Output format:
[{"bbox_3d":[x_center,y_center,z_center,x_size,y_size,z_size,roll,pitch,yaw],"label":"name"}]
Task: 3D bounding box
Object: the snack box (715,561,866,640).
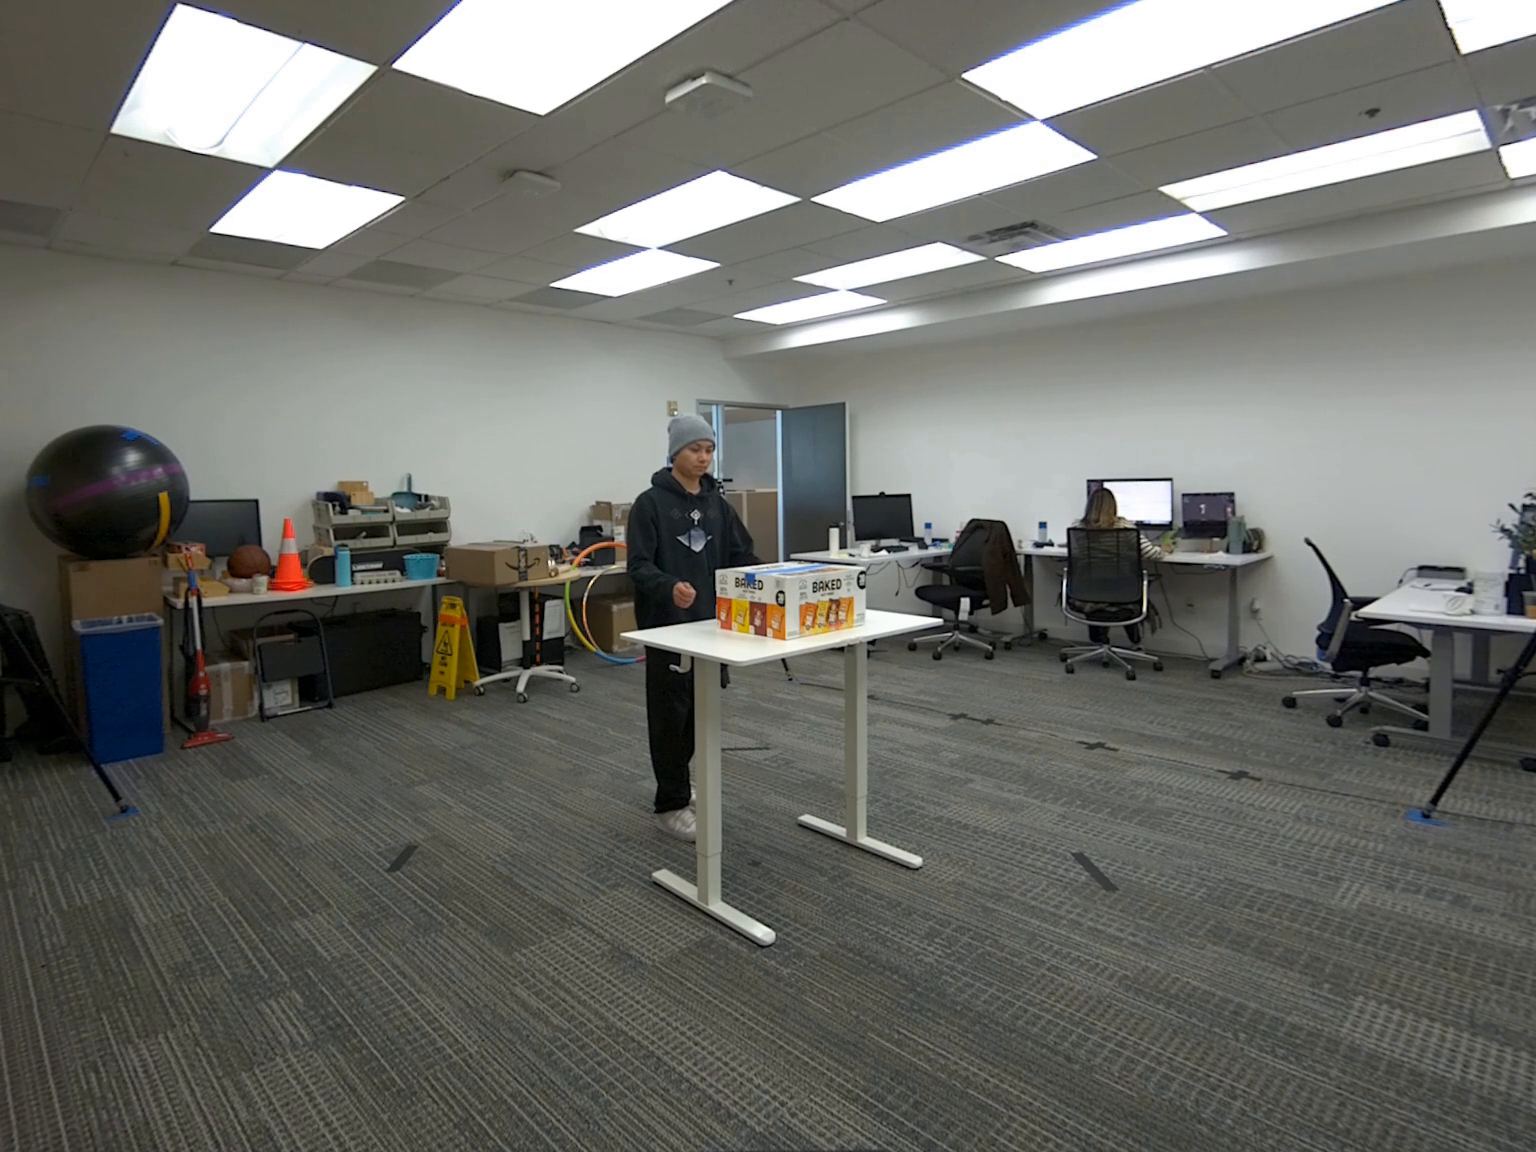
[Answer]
[{"bbox_3d":[0.082,0.075,2.963,0.394,0.205,0.351,-6,8,-44],"label":"snack box"}]
